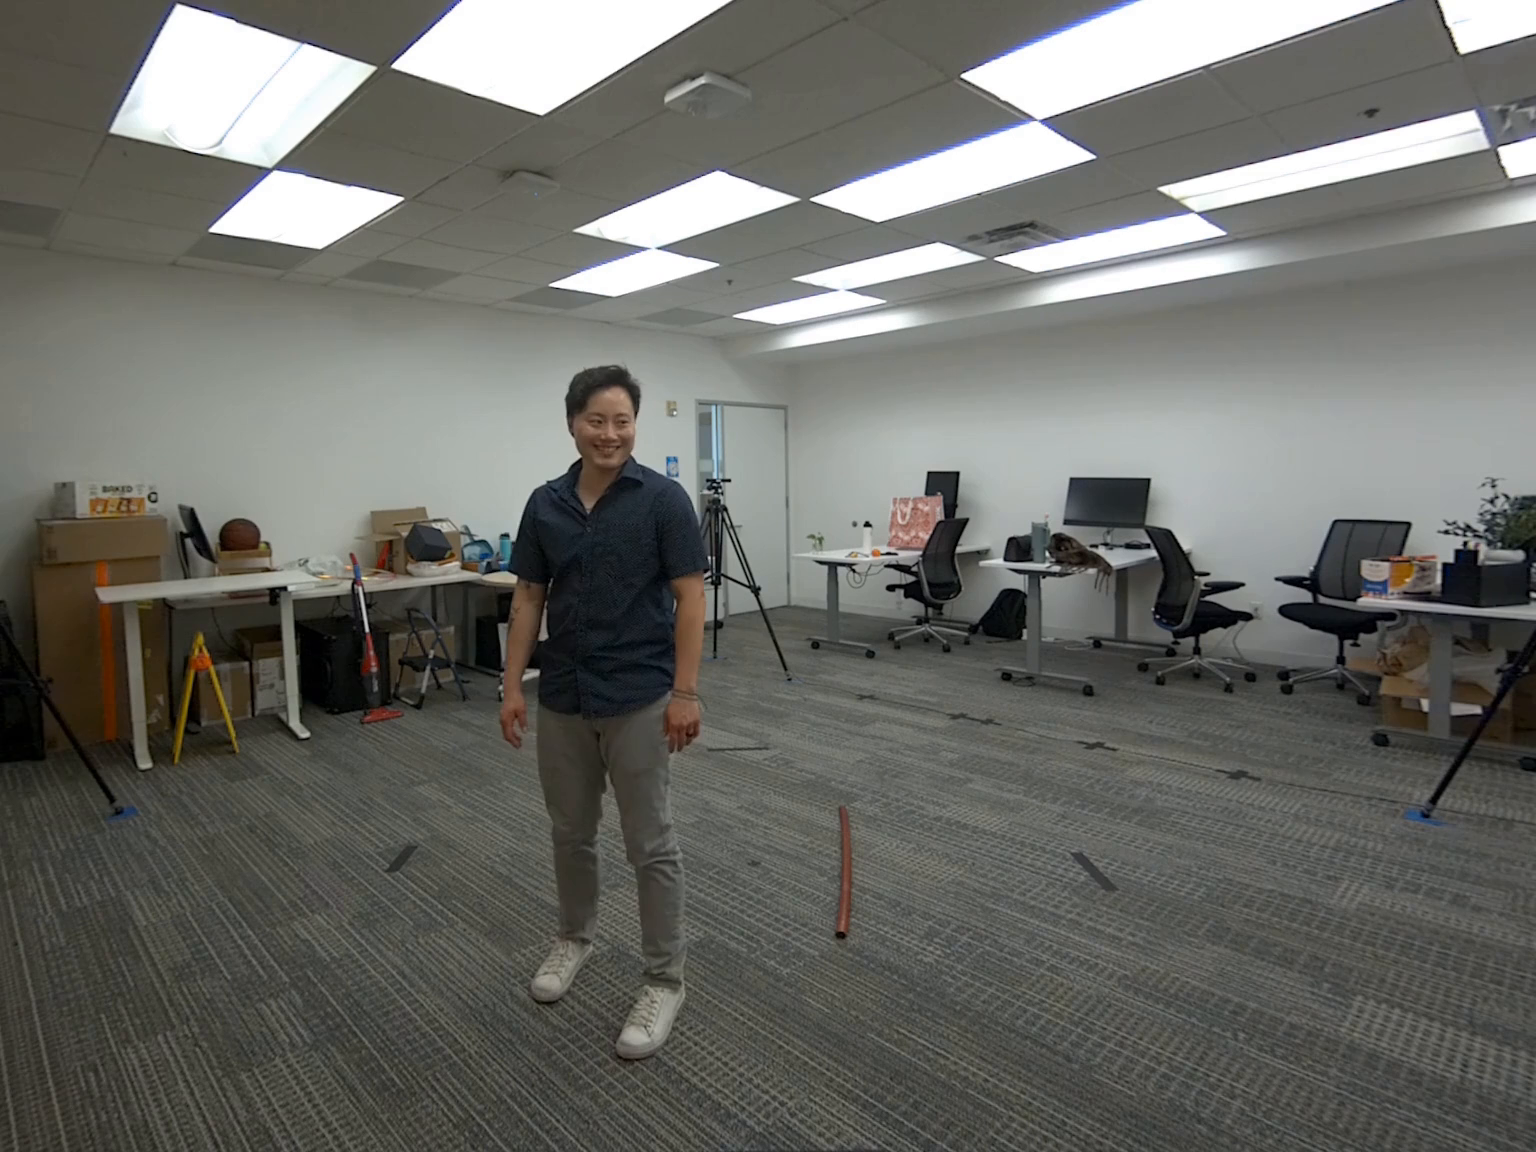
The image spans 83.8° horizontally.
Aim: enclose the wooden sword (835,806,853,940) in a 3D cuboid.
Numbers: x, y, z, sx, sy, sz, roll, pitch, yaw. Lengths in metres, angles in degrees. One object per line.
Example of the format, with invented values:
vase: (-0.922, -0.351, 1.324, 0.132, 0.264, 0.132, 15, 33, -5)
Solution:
wooden sword: (0.272, 1.021, 3.095, 0.051, 0.024, 1.023, 0, 6, 4)
